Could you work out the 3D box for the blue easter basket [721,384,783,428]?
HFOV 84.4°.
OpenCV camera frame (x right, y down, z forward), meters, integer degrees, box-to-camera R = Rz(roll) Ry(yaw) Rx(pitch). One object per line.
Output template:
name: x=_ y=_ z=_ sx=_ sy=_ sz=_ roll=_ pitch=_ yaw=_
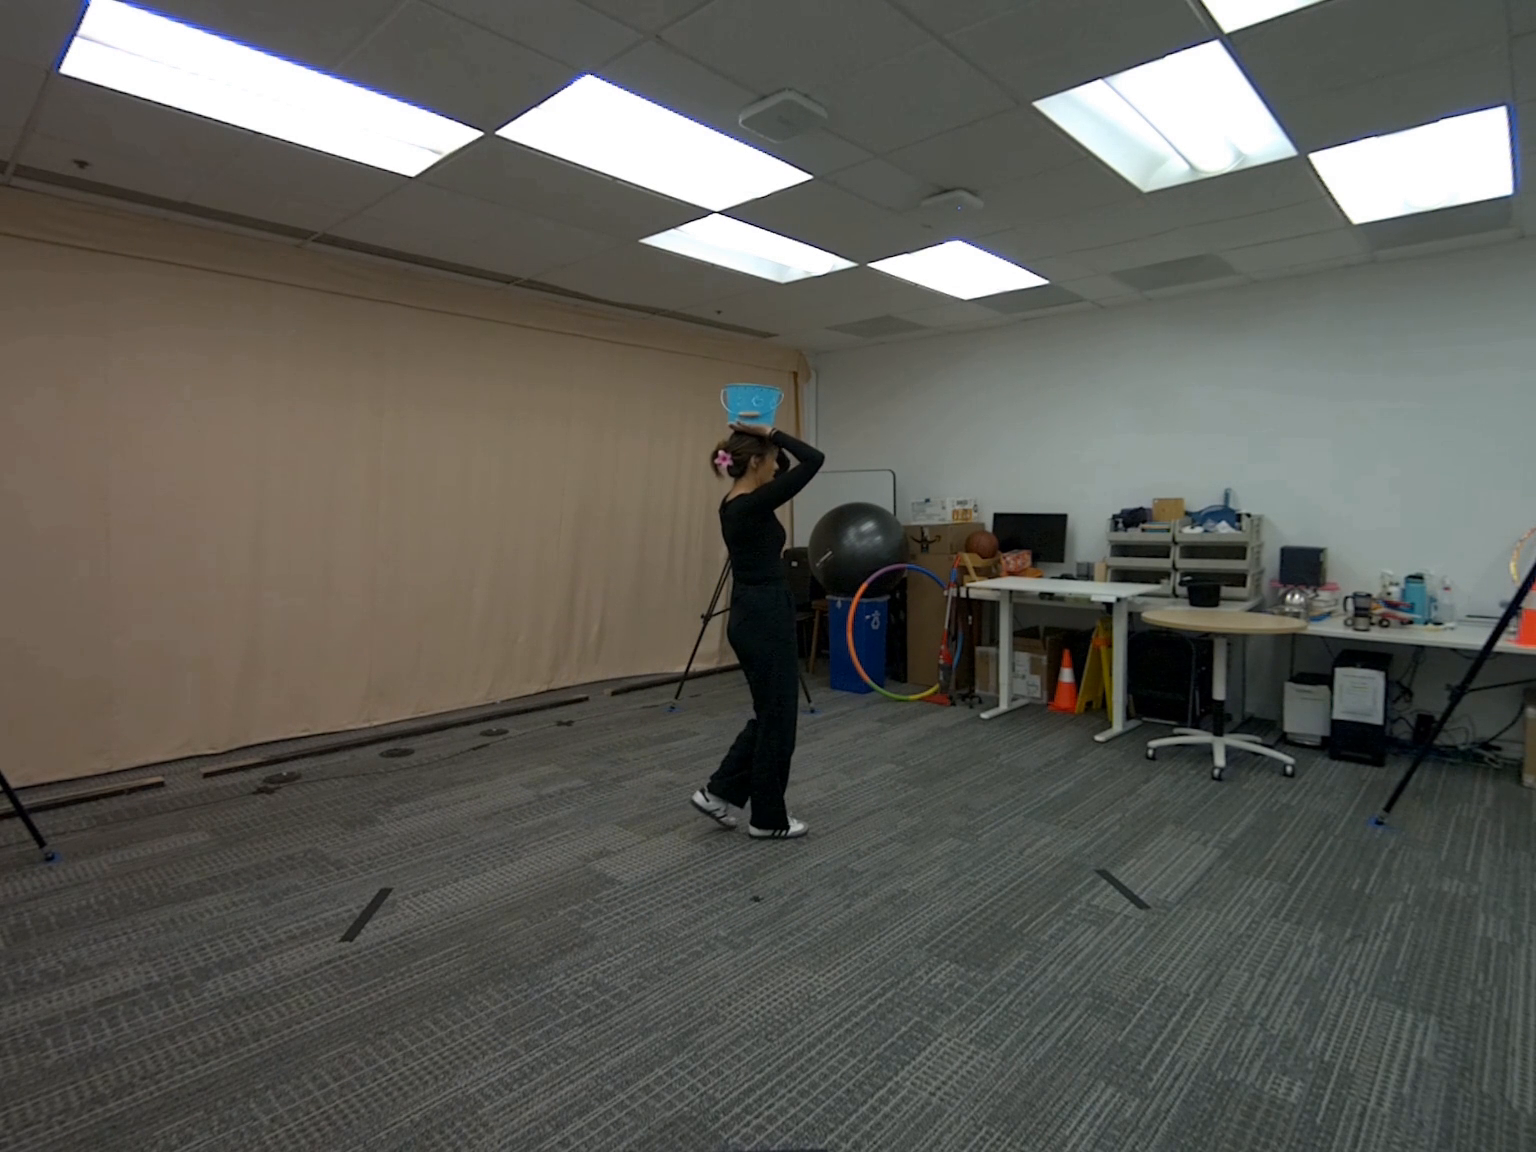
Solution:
blue easter basket: x=-0.069 y=-0.682 z=3.416 sx=0.243 sy=0.156 sz=0.244 roll=4 pitch=2 yaw=-2
